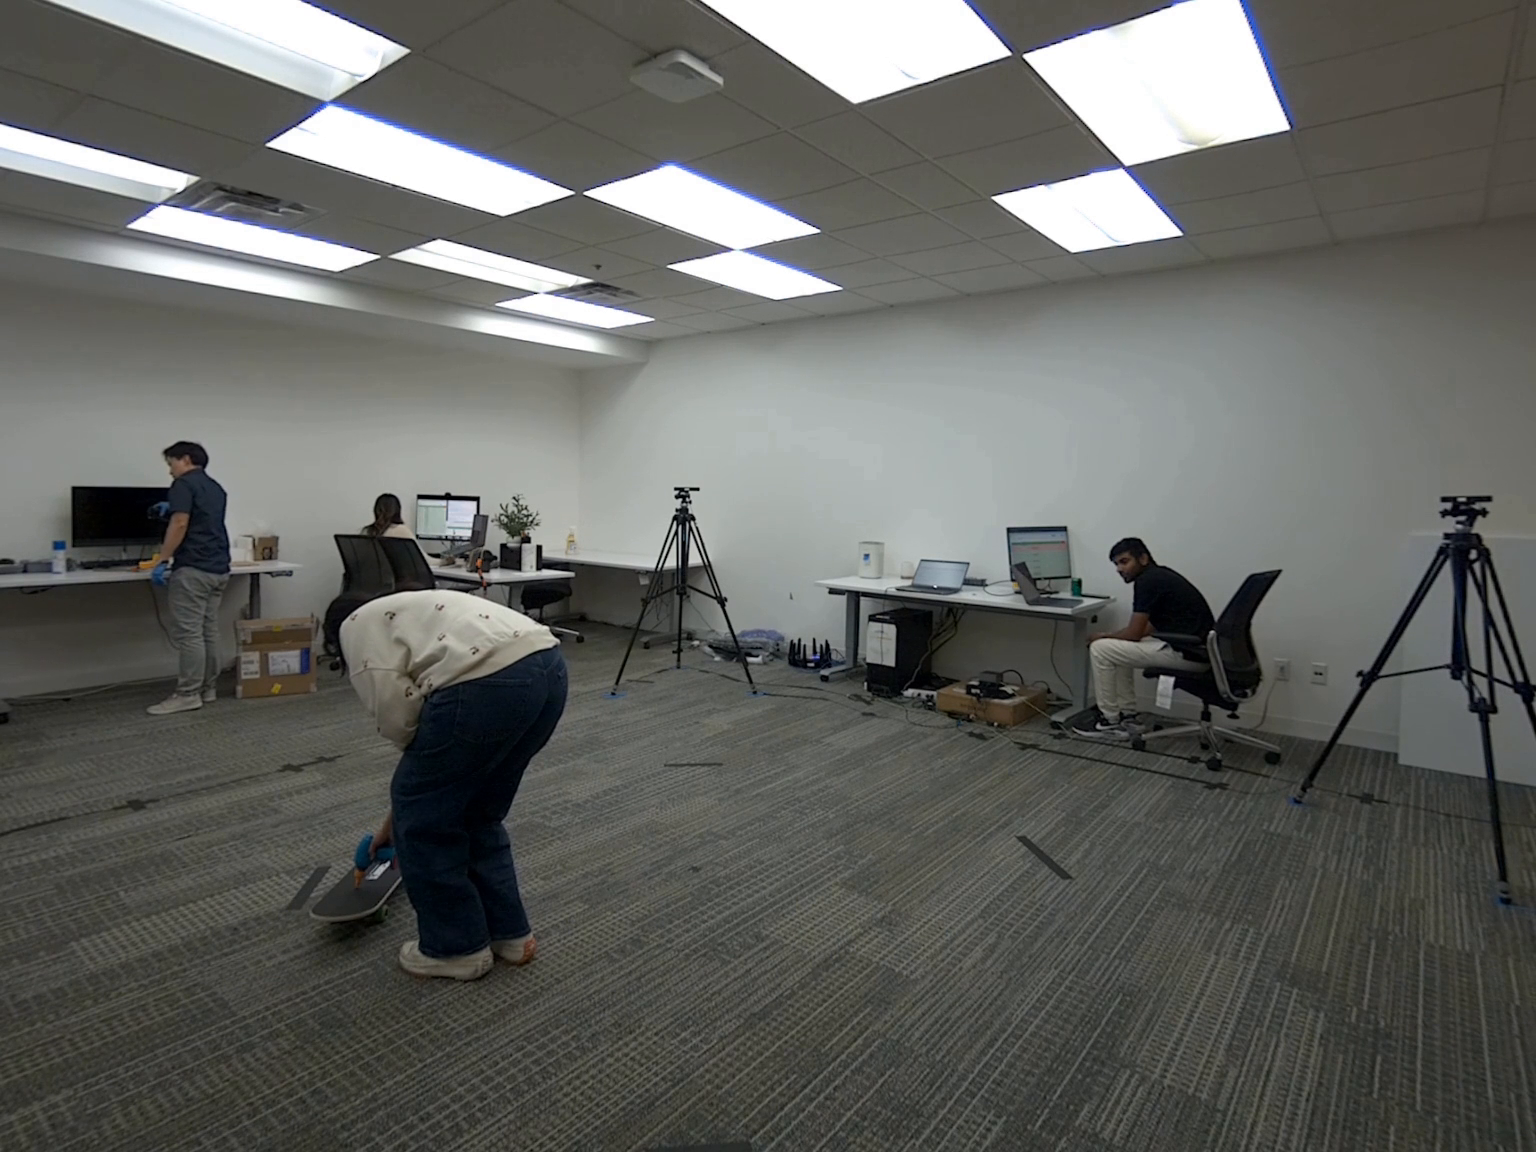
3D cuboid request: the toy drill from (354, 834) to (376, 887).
[{"bbox_3d":[-1.286,0.930,2.740,0.147,0.170,0.060,15,-3,7],"label":"toy drill"}]
